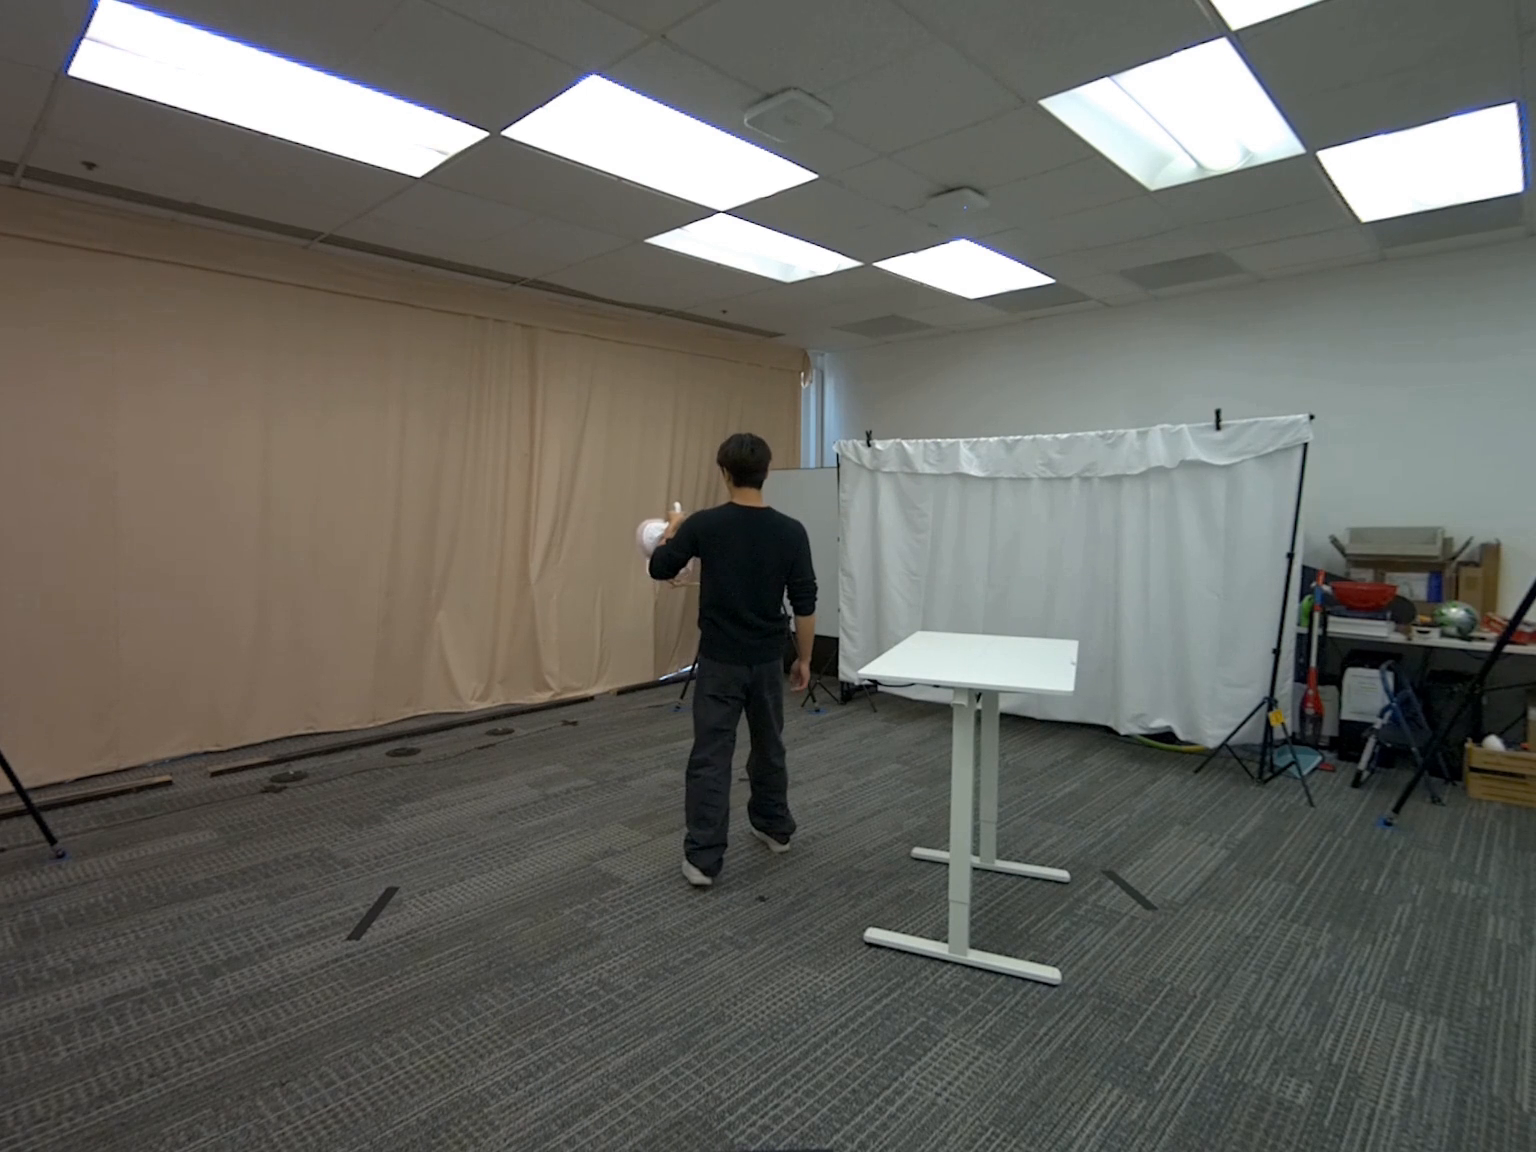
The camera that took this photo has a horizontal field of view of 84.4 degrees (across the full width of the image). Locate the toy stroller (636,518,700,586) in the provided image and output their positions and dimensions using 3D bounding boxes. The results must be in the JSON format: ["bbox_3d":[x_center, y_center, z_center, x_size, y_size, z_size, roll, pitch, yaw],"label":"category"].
[{"bbox_3d":[-0.424,-0.103,3.779,0.349,0.285,0.517,-6,-27,24],"label":"toy stroller"}]
